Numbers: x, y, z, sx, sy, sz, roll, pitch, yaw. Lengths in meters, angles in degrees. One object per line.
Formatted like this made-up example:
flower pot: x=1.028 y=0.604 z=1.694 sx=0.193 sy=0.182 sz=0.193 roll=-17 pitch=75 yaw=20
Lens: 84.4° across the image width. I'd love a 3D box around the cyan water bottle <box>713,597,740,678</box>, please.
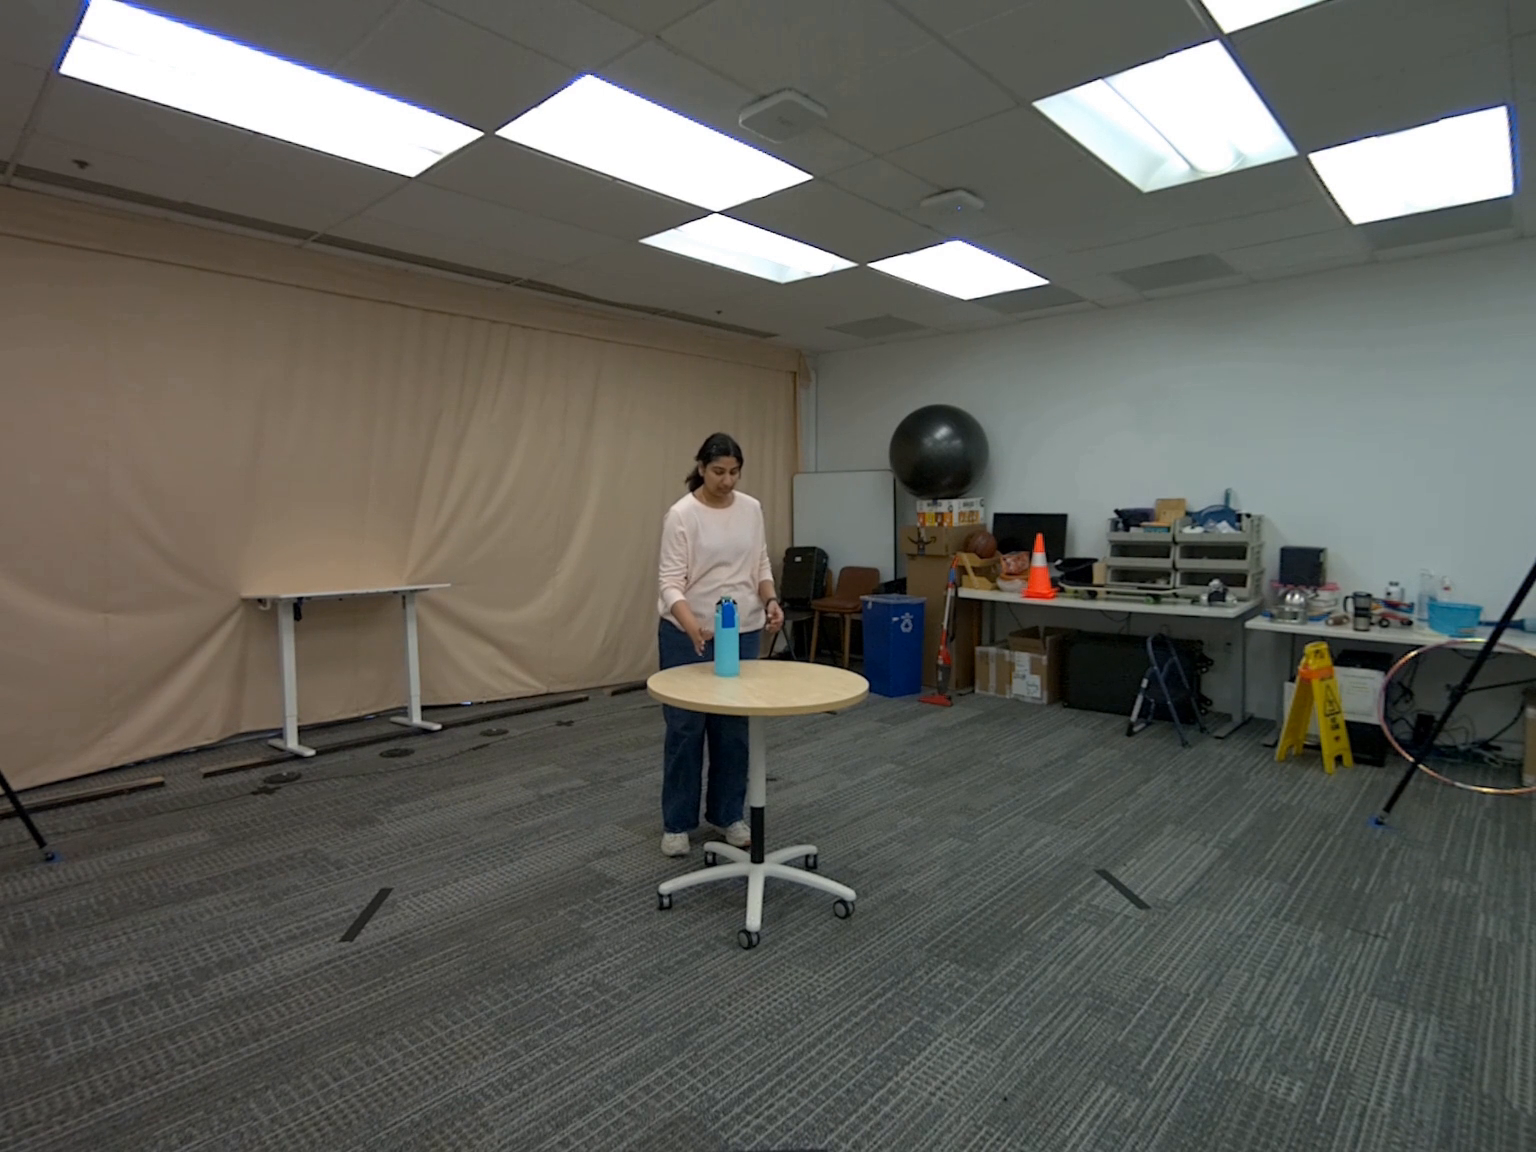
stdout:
cyan water bottle: x=-0.148 y=0.214 z=3.031 sx=0.092 sy=0.283 sz=0.093 roll=-1 pitch=4 yaw=-2
